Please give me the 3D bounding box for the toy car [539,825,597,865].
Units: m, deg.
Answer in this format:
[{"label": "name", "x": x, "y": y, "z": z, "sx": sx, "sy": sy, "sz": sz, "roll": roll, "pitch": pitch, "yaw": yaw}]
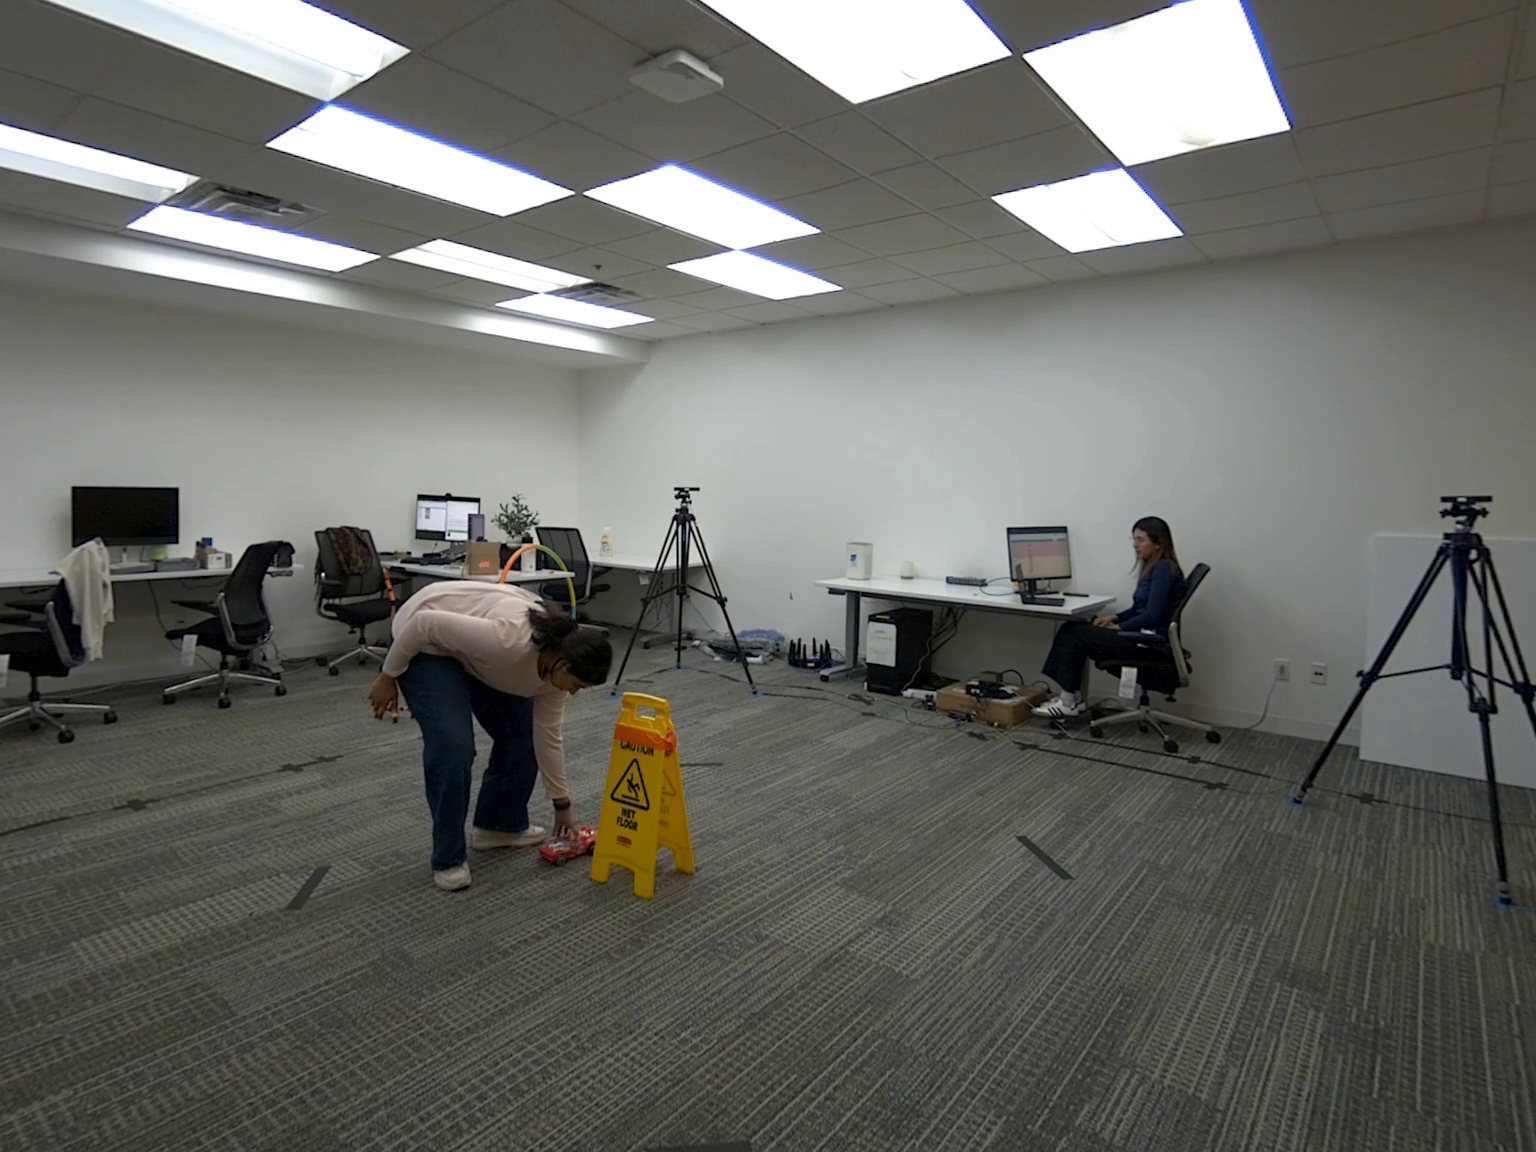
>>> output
[{"label": "toy car", "x": -0.745, "y": 1.015, "z": 3.205, "sx": 0.134, "sy": 0.082, "sz": 0.249, "roll": 2, "pitch": 13, "yaw": 45}]
